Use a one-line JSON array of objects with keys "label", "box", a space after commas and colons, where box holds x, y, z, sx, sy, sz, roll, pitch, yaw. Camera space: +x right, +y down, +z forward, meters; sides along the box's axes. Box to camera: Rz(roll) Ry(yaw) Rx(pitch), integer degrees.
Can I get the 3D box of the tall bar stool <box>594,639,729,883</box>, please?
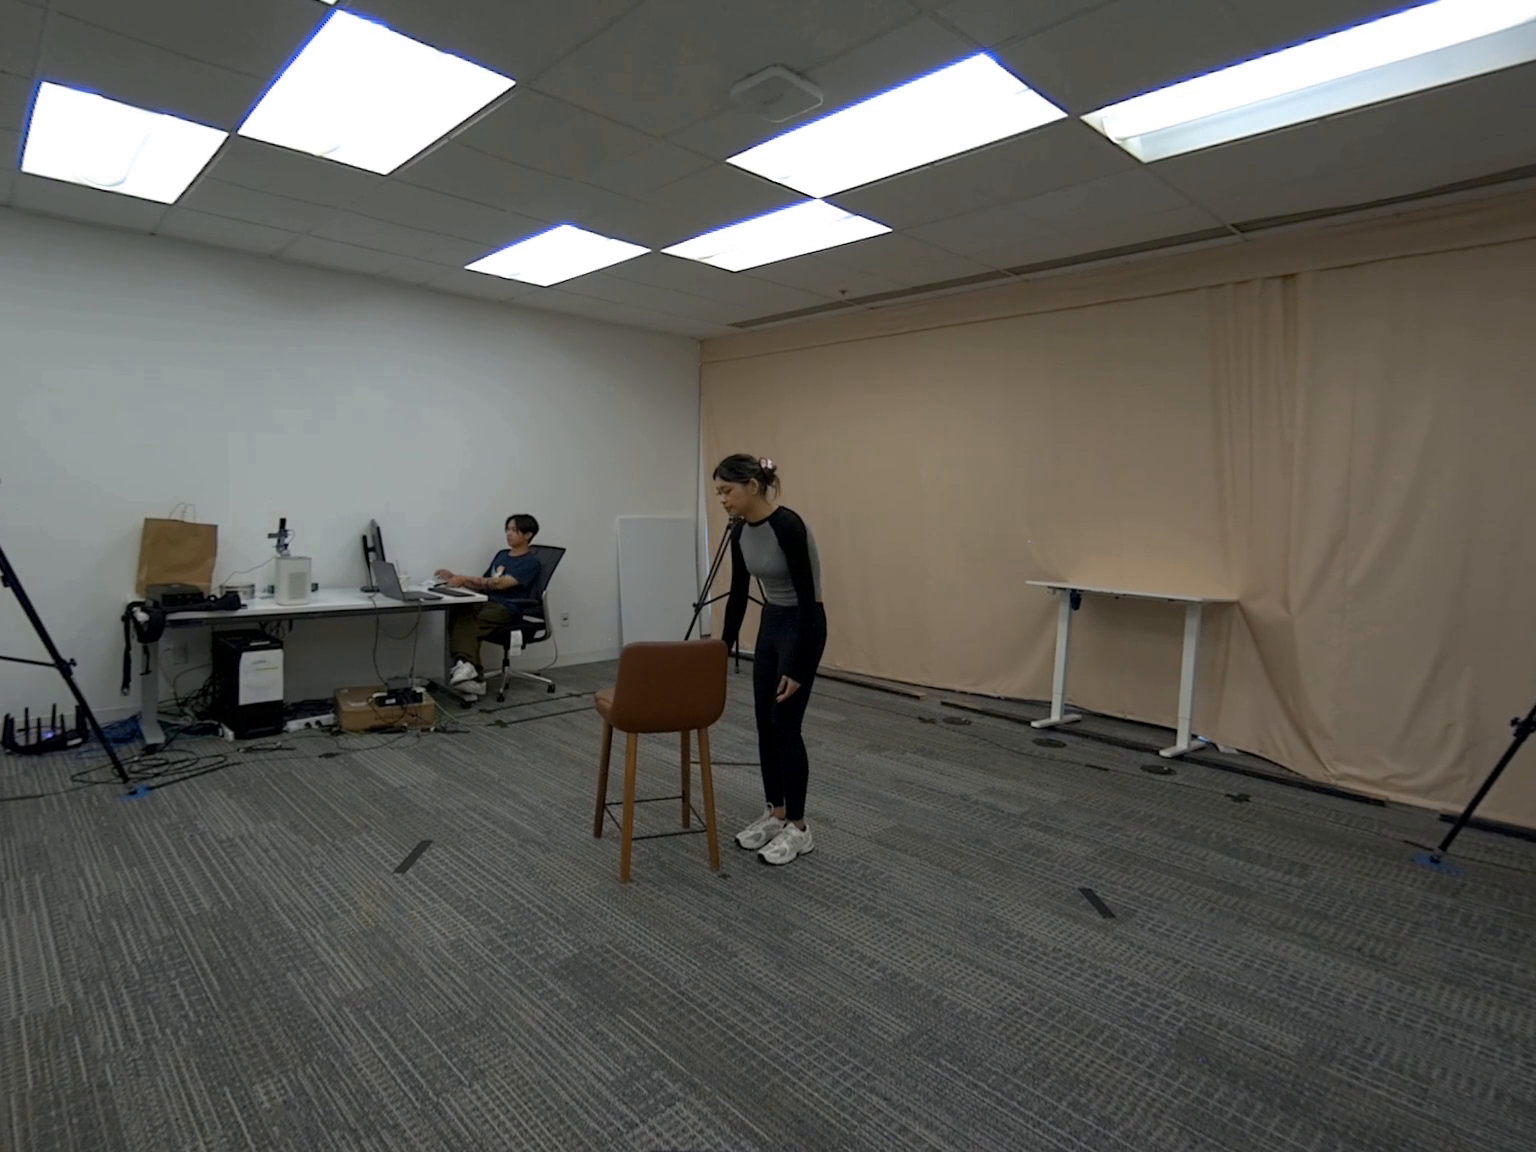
[{"label": "tall bar stool", "box": [-0.434, 0.652, 3.268, 0.449, 0.887, 0.477, 0, 5, -22]}]
